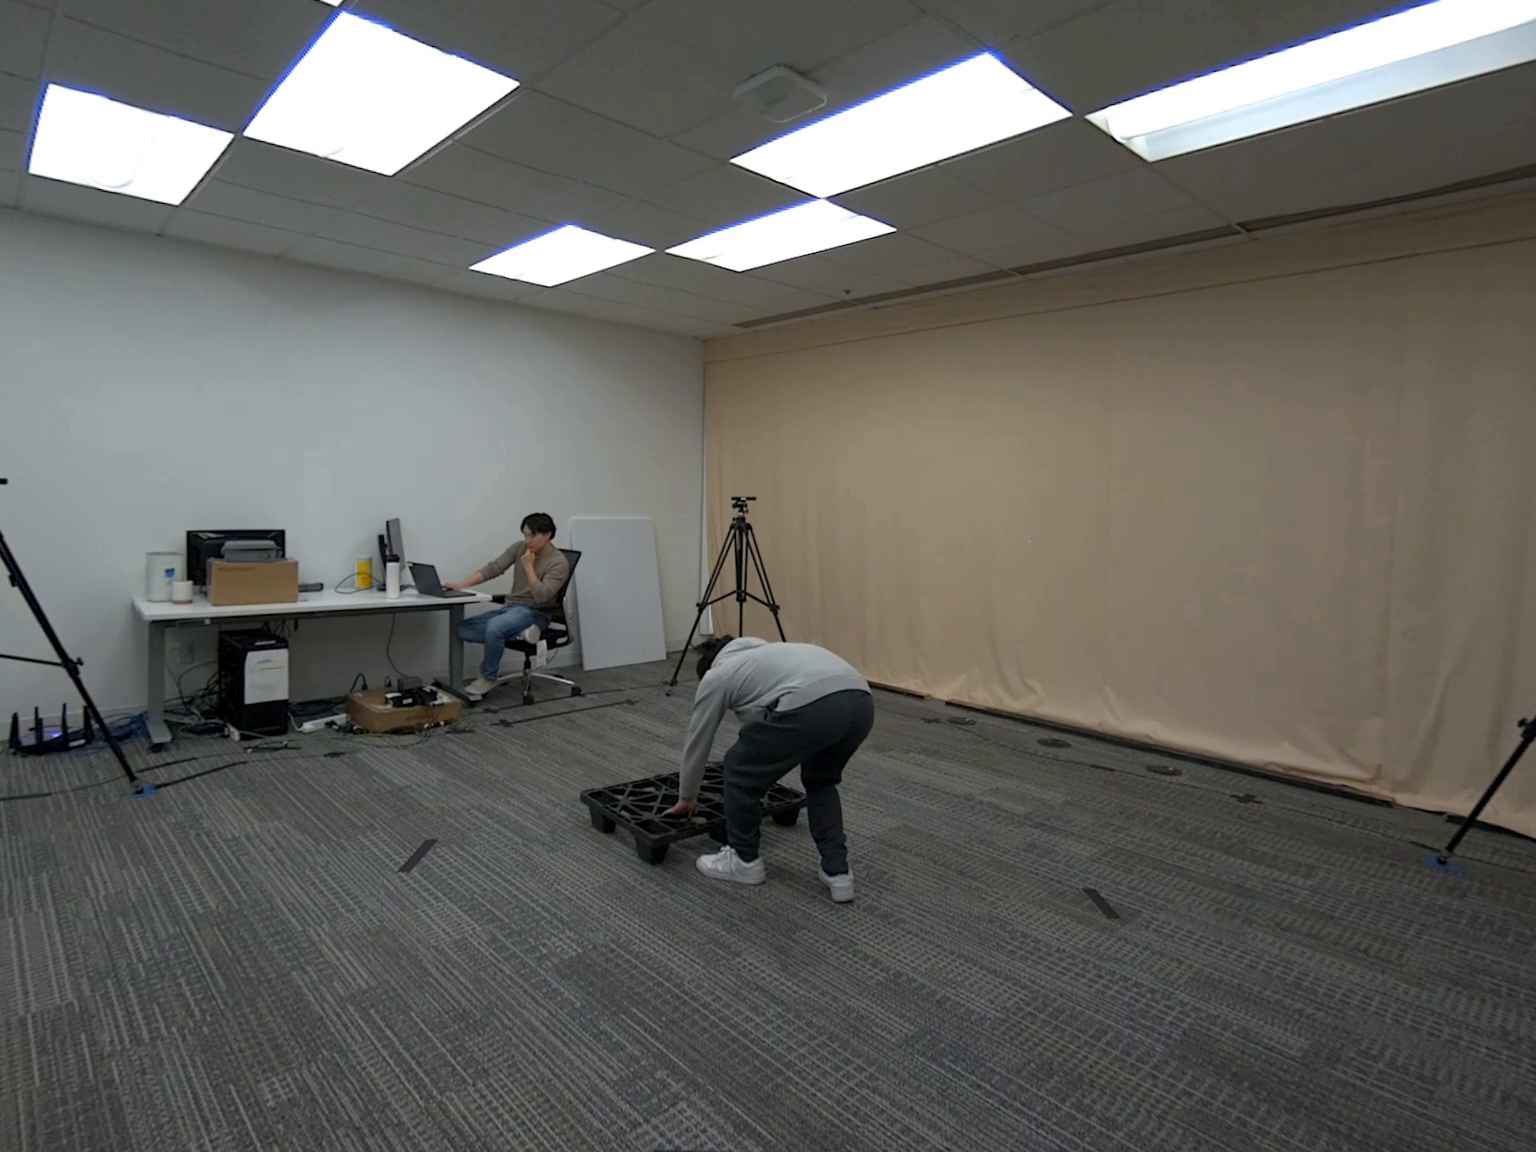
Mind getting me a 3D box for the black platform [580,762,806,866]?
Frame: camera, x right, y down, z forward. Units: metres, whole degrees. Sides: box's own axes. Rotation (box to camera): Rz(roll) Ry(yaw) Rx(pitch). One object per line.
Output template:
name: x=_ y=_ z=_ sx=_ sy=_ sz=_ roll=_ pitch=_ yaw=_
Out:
black platform: x=-0.311 y=0.996 z=3.580 sx=0.787 sy=0.143 sz=0.620 roll=-3 pitch=7 yaw=-38
